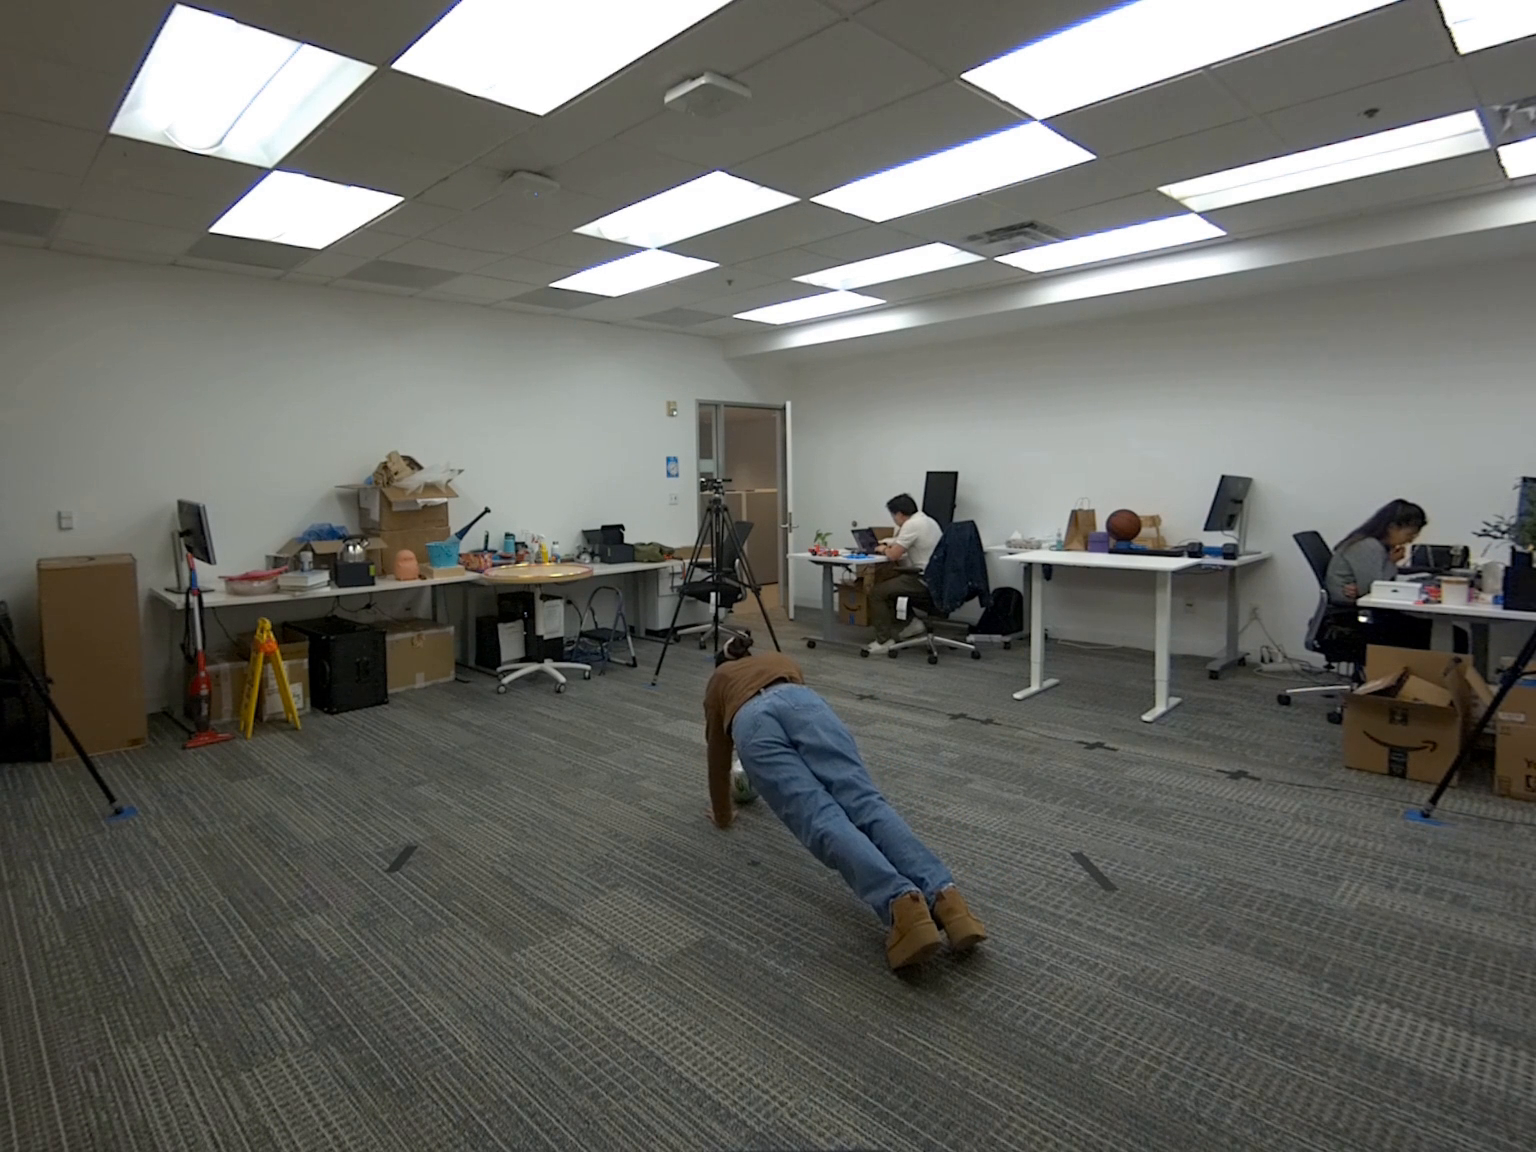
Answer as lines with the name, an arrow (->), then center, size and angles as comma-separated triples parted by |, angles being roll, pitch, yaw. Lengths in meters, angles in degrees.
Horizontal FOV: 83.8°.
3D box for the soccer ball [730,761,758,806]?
soccer ball -> -0.101, 0.890, 3.711 | 0.187, 0.187, 0.188 | -1, 5, -2
